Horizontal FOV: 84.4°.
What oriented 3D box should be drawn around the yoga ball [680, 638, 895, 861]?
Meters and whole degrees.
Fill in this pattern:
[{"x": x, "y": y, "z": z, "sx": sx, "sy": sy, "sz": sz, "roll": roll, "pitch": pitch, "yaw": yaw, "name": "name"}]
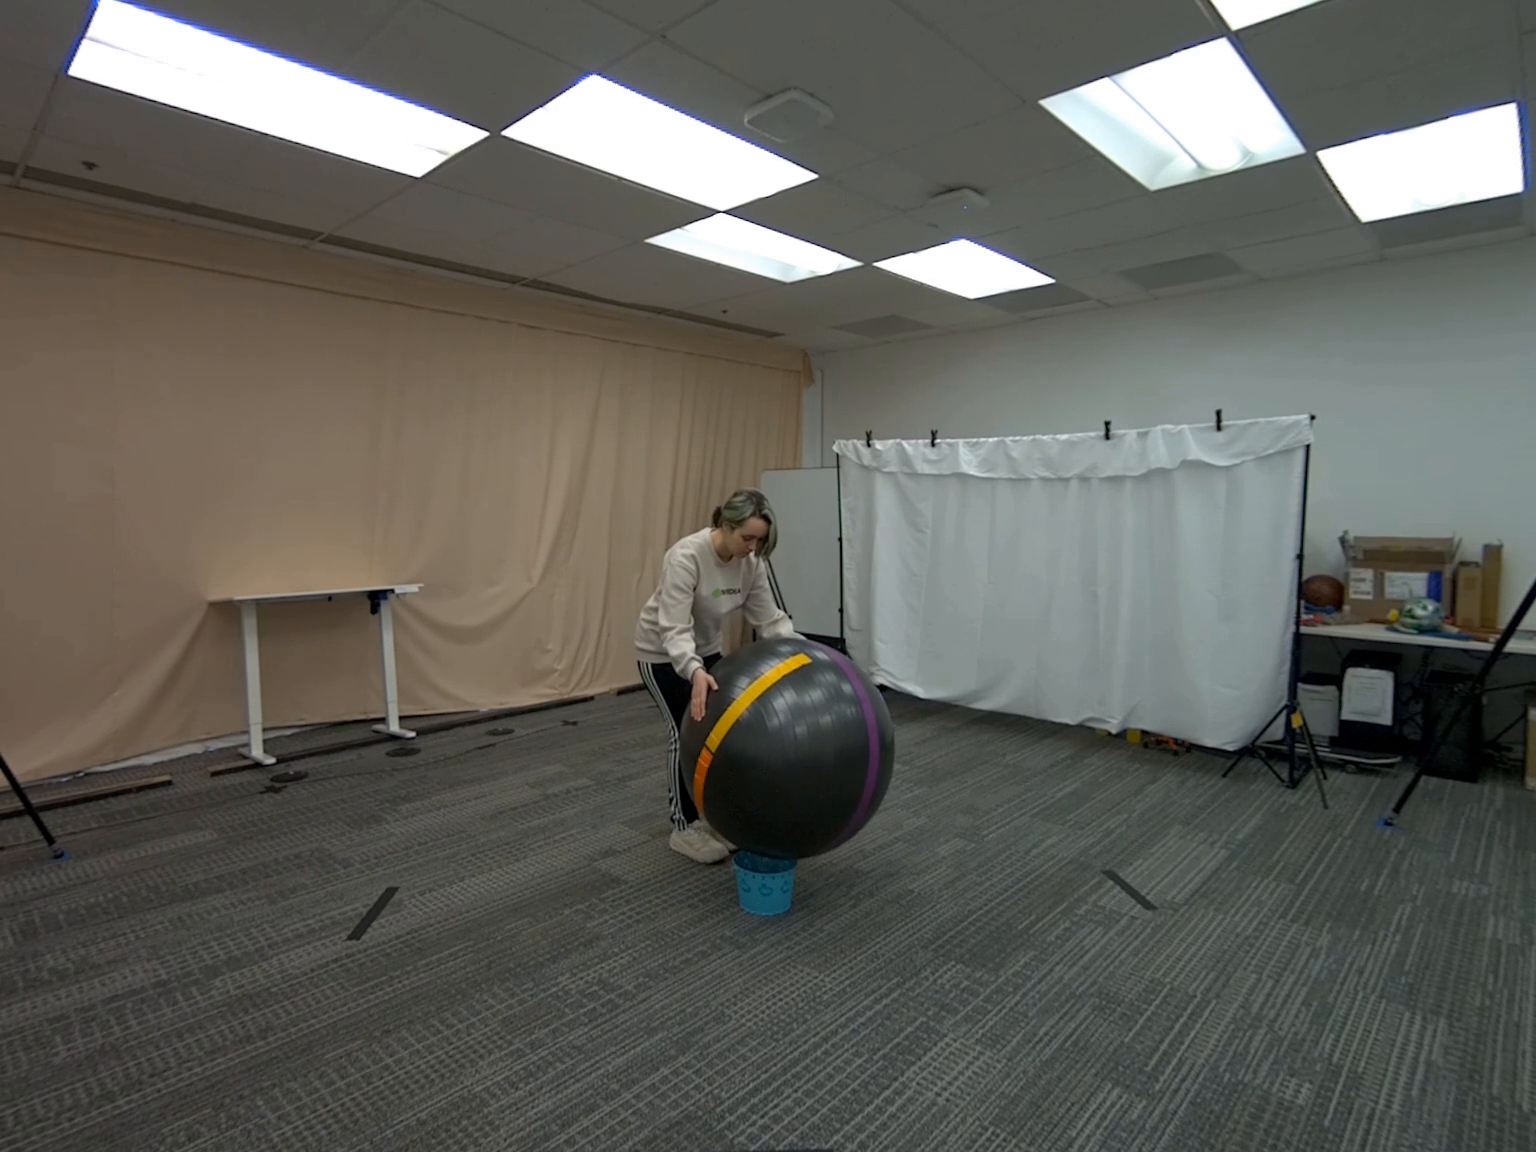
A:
[{"x": 0.068, "y": 0.602, "z": 2.973, "sx": 0.757, "sy": 0.756, "sz": 0.760, "roll": 0, "pitch": 4, "yaw": -2, "name": "yoga ball"}]
